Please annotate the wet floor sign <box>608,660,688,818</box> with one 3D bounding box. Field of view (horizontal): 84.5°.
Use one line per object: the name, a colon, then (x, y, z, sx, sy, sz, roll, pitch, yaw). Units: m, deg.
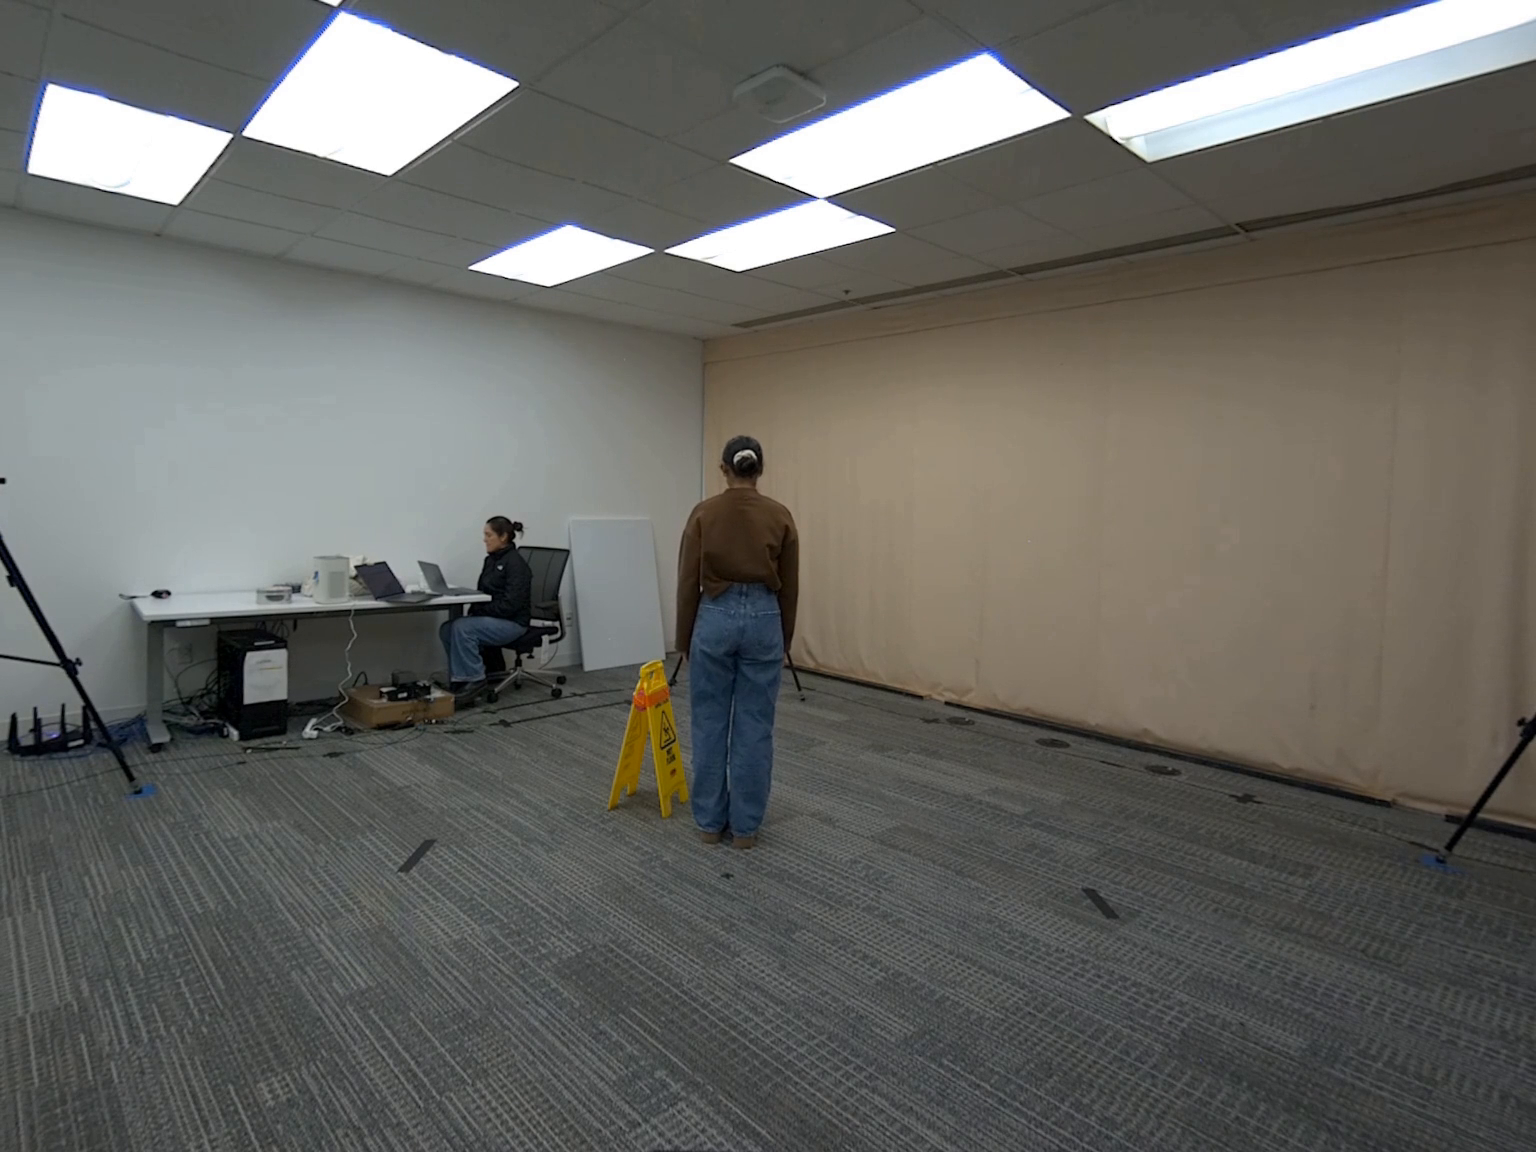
wet floor sign: (-0.541, 0.712, 3.804, 0.294, 0.645, 0.279, 2, 2, 17)
